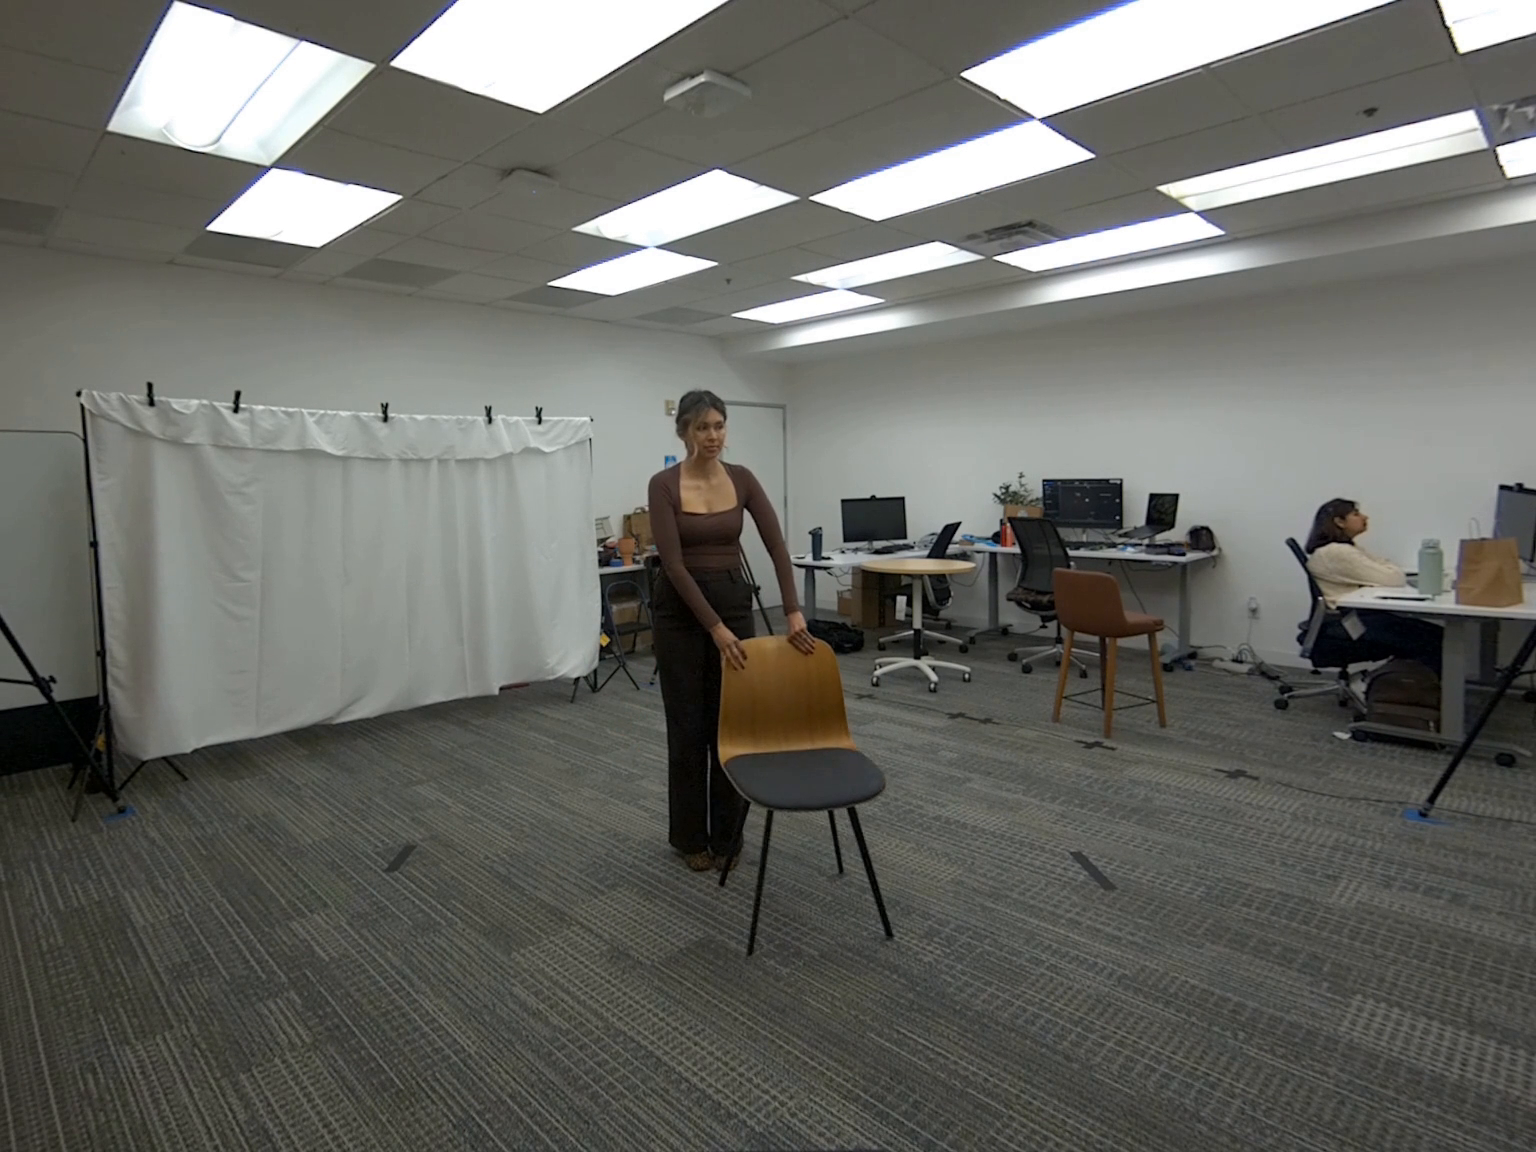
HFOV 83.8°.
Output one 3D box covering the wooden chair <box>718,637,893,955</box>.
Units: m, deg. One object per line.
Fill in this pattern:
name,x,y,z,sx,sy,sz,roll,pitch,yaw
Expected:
wooden chair,0.098,0.654,2.723,0.472,0.878,0.529,-1,0,-13
